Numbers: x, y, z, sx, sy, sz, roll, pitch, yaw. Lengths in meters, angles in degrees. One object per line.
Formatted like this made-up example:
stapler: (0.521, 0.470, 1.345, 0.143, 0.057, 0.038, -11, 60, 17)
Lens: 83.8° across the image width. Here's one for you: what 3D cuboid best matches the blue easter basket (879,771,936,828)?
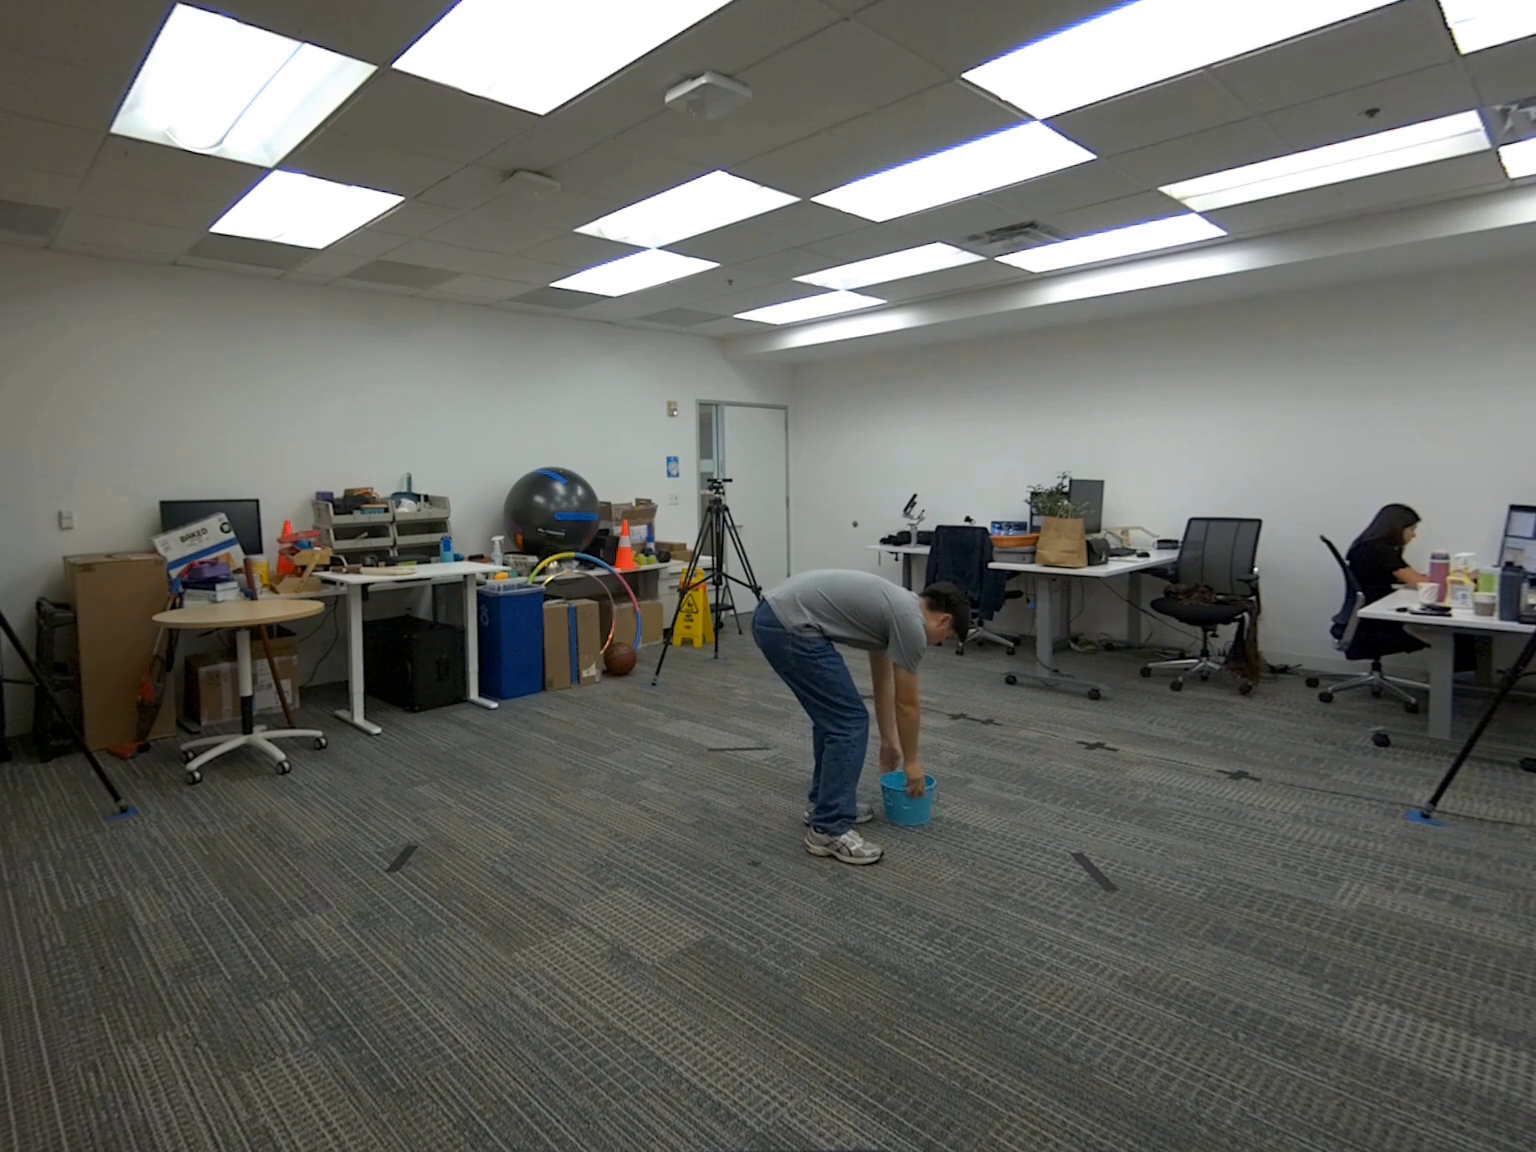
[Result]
blue easter basket: (0.579, 0.897, 3.498, 0.243, 0.155, 0.244, -2, 4, -2)
